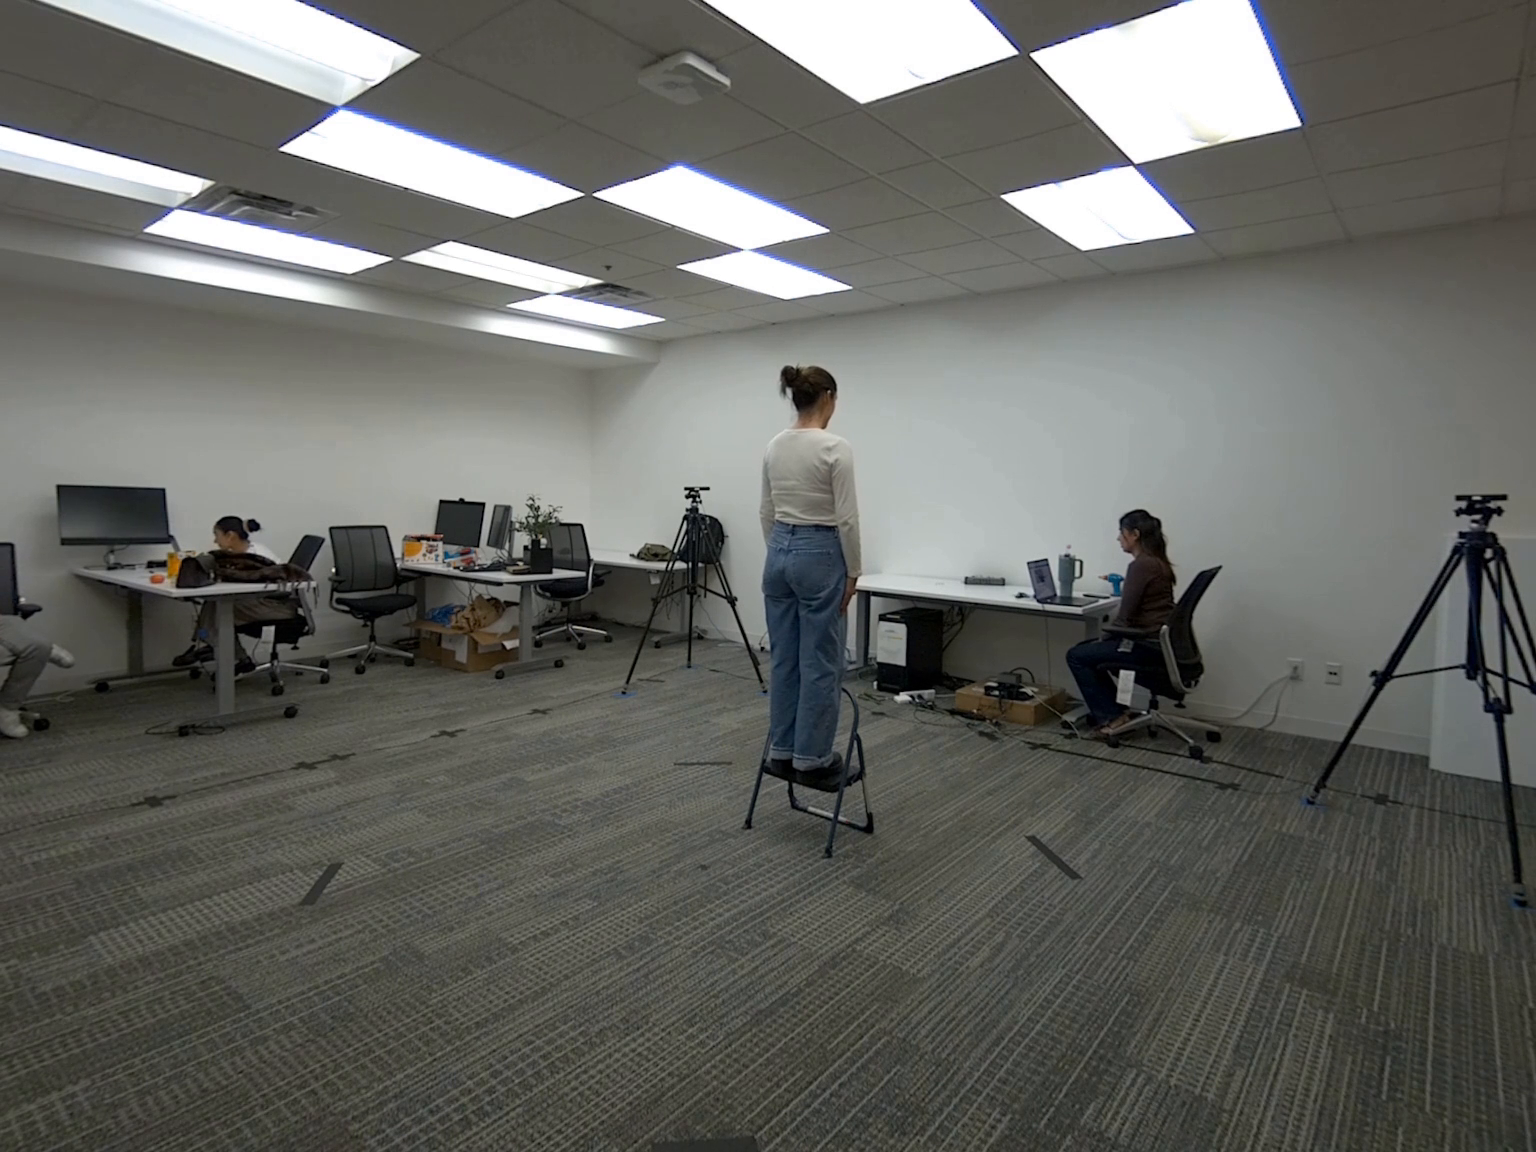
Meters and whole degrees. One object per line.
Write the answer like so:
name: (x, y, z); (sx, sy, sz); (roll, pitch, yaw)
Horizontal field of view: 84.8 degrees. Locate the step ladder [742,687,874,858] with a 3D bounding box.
step ladder: (0.167, 0.734, 3.461); (0.445, 0.604, 0.339); (4, 4, 39)
